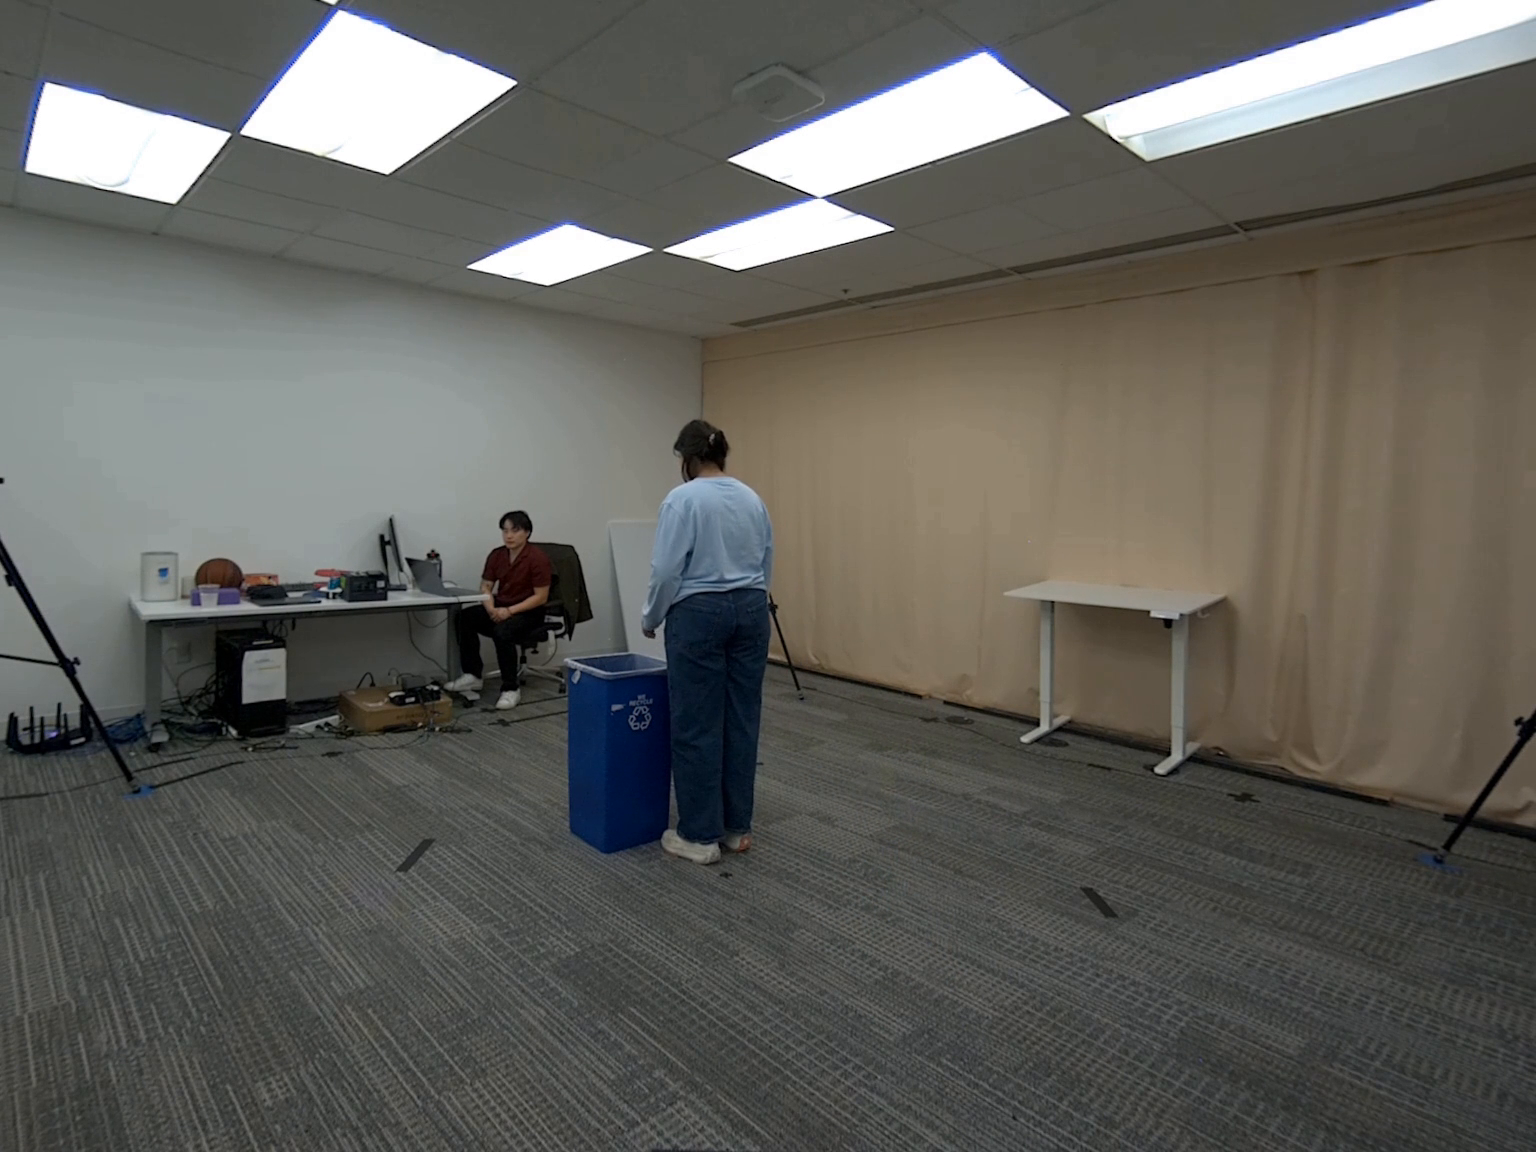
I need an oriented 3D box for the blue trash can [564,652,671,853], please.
[{"bbox_3d":[-0.608,0.703,3.455,0.365,0.712,0.388,-1,4,-41],"label":"blue trash can"}]
